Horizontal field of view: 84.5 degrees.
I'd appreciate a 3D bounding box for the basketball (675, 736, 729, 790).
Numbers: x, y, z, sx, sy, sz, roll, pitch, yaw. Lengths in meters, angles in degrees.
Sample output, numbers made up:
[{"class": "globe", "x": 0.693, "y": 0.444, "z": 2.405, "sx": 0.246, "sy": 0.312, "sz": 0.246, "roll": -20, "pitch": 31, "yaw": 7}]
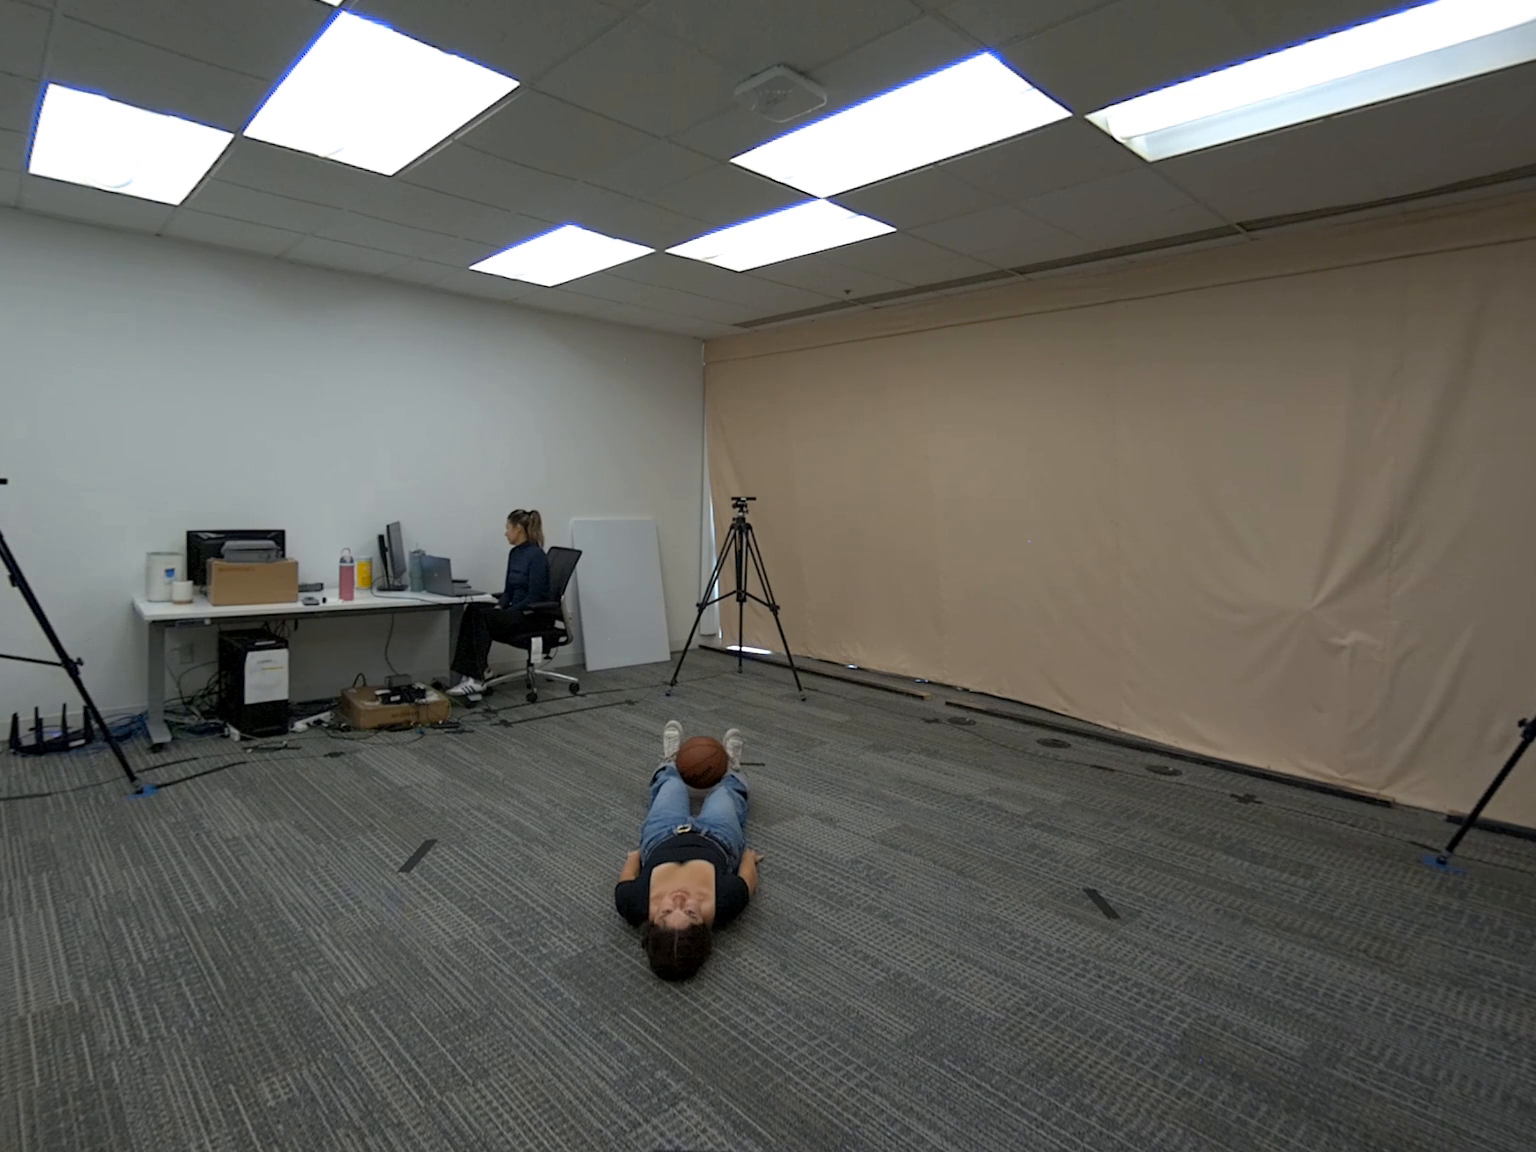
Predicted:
[{"class": "basketball", "x": -0.316, "y": 0.847, "z": 3.861, "sx": 0.236, "sy": 0.235, "sz": 0.237, "roll": 1, "pitch": 4, "yaw": -1}]
